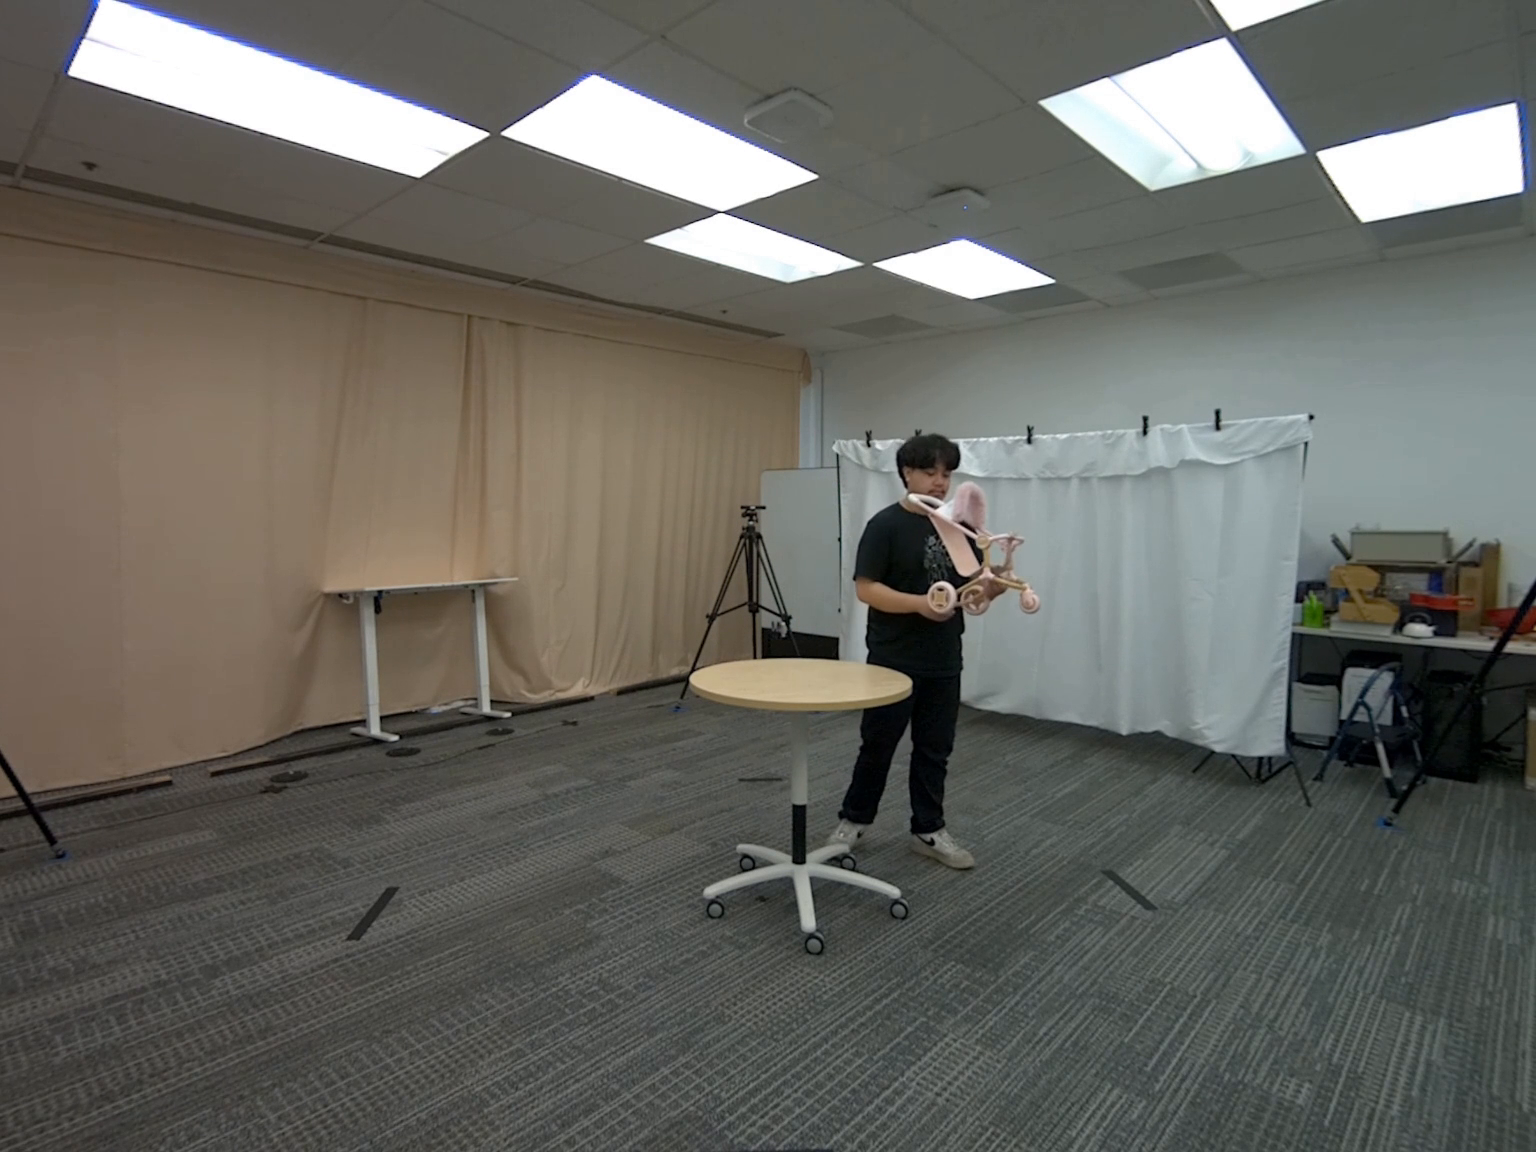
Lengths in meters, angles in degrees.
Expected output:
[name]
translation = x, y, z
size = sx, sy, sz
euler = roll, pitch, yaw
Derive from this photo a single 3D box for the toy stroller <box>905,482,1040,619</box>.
[toy stroller]
translation = 0.726, -0.089, 2.954
size = 0.272, 0.542, 0.348
euler = 6, -22, -44
